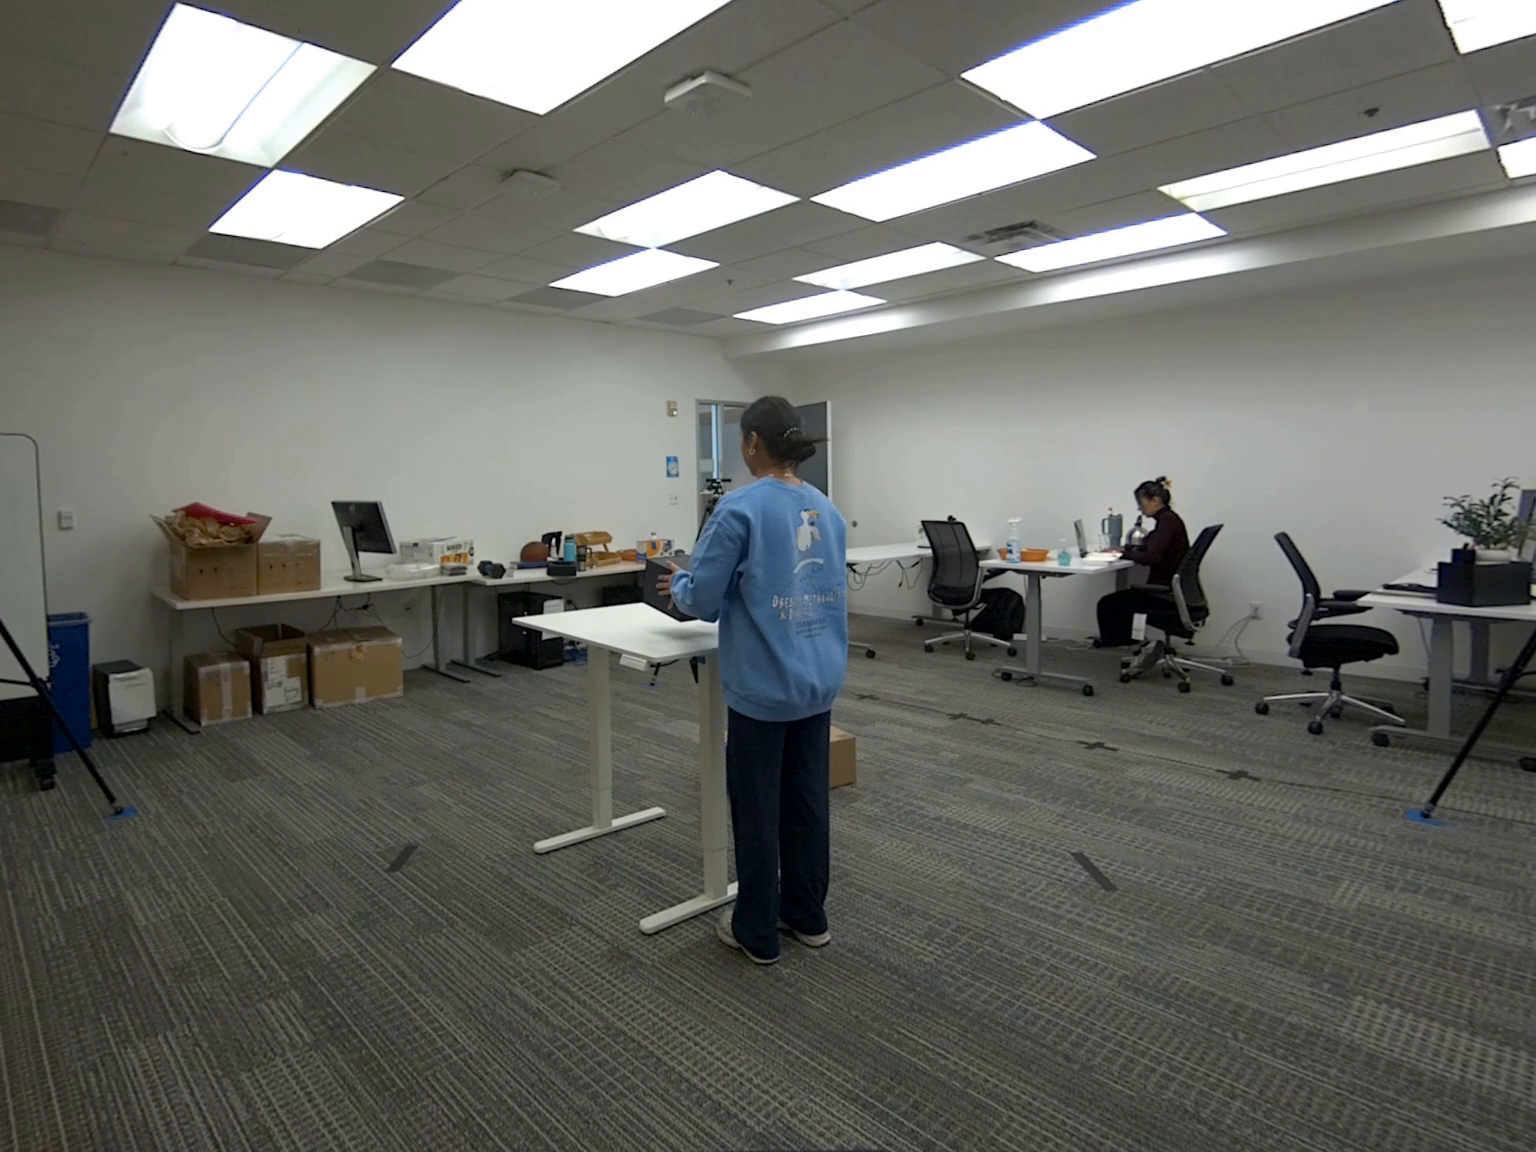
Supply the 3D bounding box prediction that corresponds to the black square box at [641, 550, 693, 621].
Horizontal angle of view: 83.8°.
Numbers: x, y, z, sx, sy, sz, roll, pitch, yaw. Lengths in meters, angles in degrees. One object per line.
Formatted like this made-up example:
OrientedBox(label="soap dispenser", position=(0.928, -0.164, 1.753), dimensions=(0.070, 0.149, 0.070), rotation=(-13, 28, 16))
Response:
OrientedBox(label="black square box", position=(-0.265, 0.037, 2.865), dimensions=(0.211, 0.154, 0.236), rotation=(-5, 18, -43))
